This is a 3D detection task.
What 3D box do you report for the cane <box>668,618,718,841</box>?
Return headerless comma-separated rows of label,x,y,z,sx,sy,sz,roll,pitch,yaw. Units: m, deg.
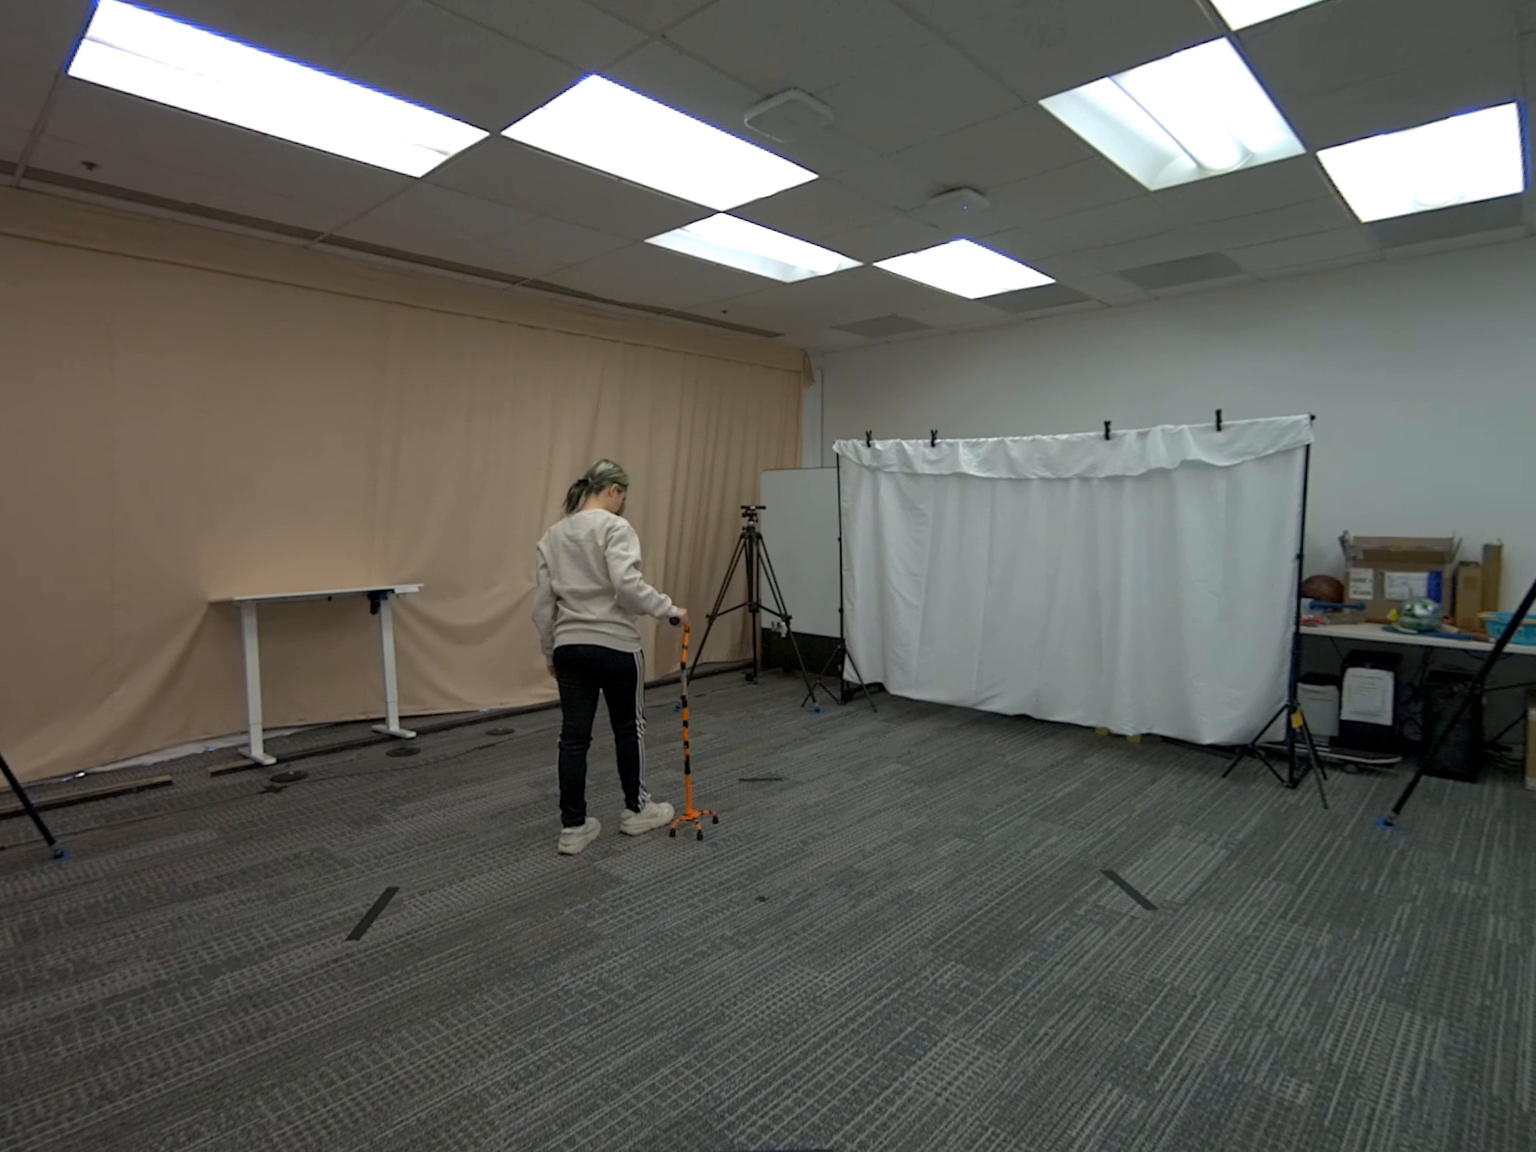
cane,-0.322,0.614,3.488,0.154,0.905,0.203,-1,4,18
